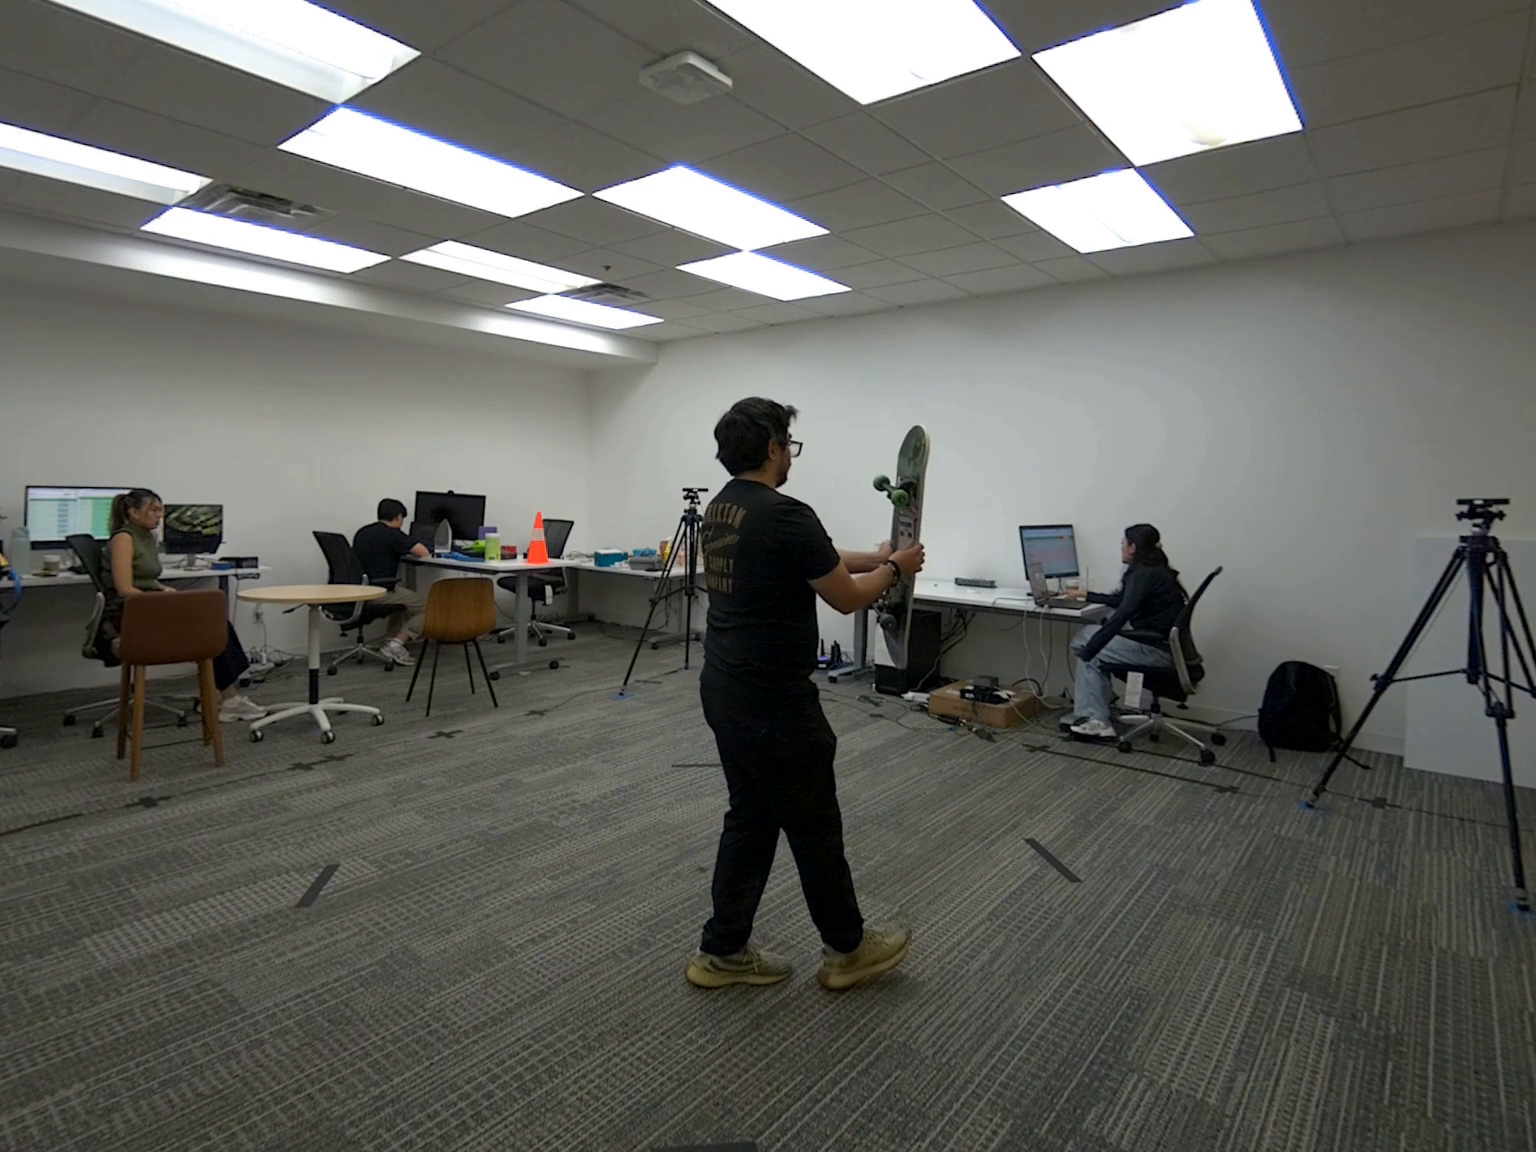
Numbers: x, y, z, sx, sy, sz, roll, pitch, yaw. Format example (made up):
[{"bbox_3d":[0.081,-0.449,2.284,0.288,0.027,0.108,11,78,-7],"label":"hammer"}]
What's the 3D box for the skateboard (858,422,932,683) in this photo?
[{"bbox_3d":[0.382,-0.071,2.604,0.109,0.772,0.198,-1,19,-9],"label":"skateboard"}]
